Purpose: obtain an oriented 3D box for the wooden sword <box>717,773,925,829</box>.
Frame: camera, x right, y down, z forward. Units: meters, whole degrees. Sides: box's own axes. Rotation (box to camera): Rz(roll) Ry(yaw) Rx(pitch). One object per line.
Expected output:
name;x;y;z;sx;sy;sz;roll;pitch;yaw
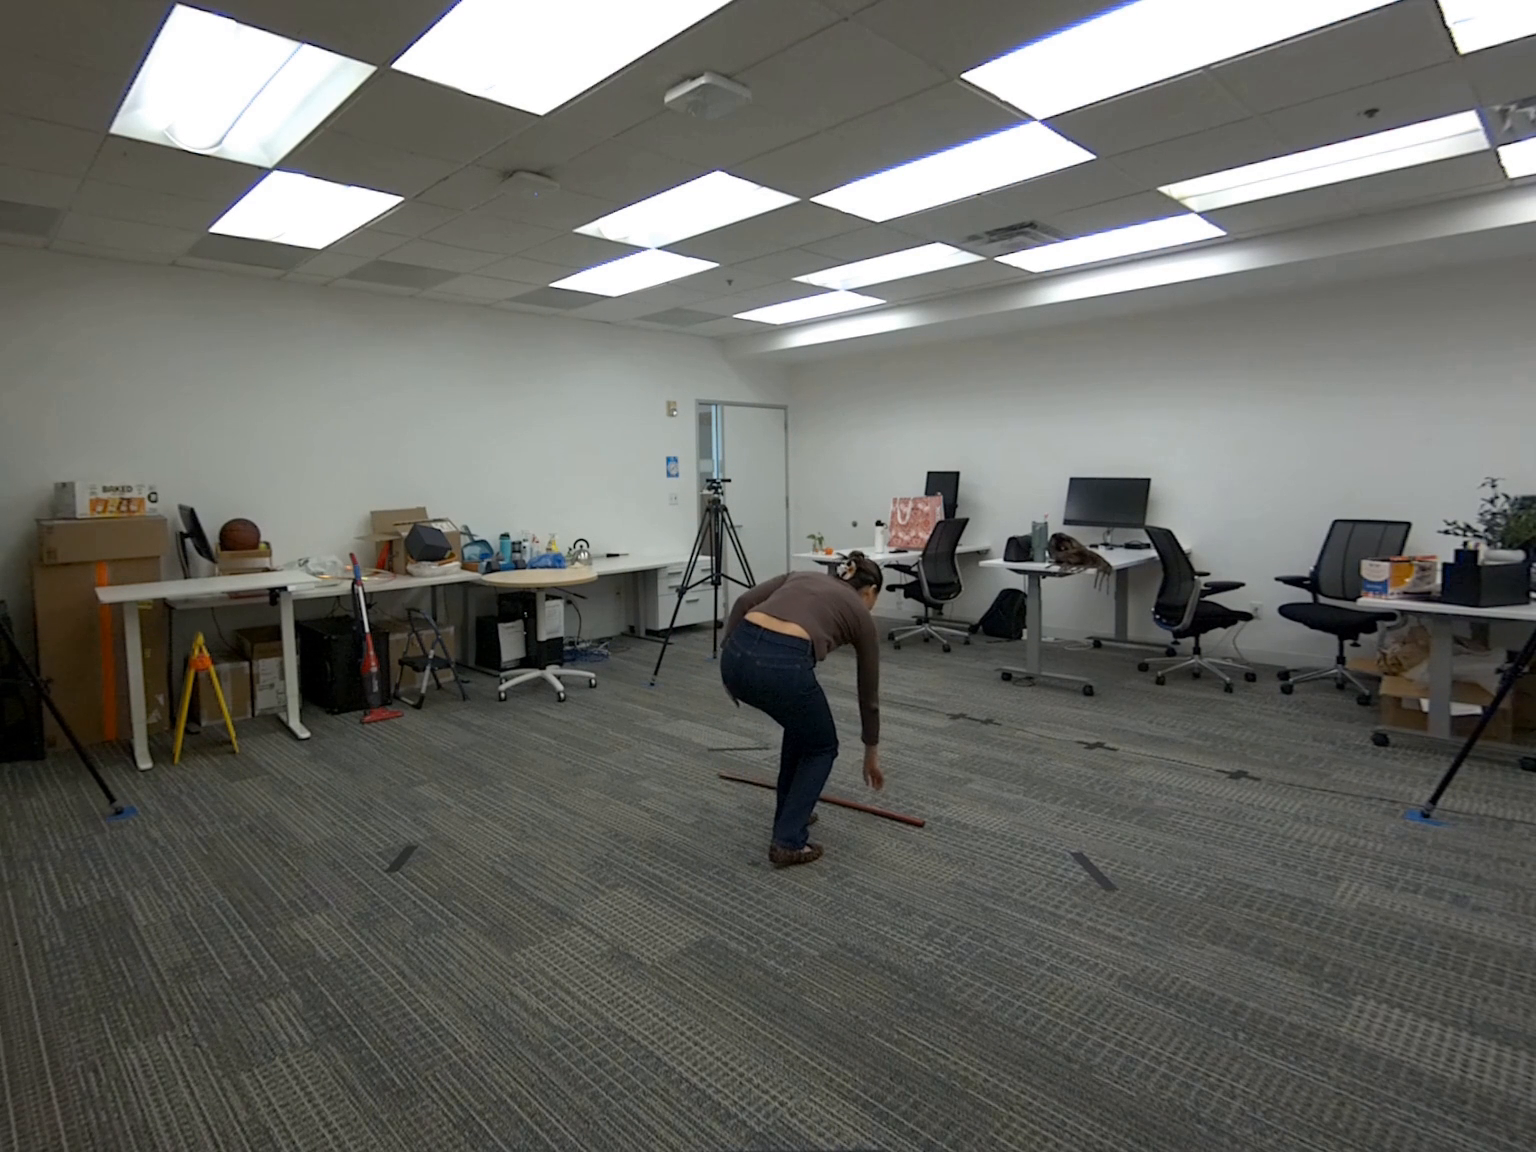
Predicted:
wooden sword;0.204;0.950;3.705;1.054;0.024;0.050;3;0;36
